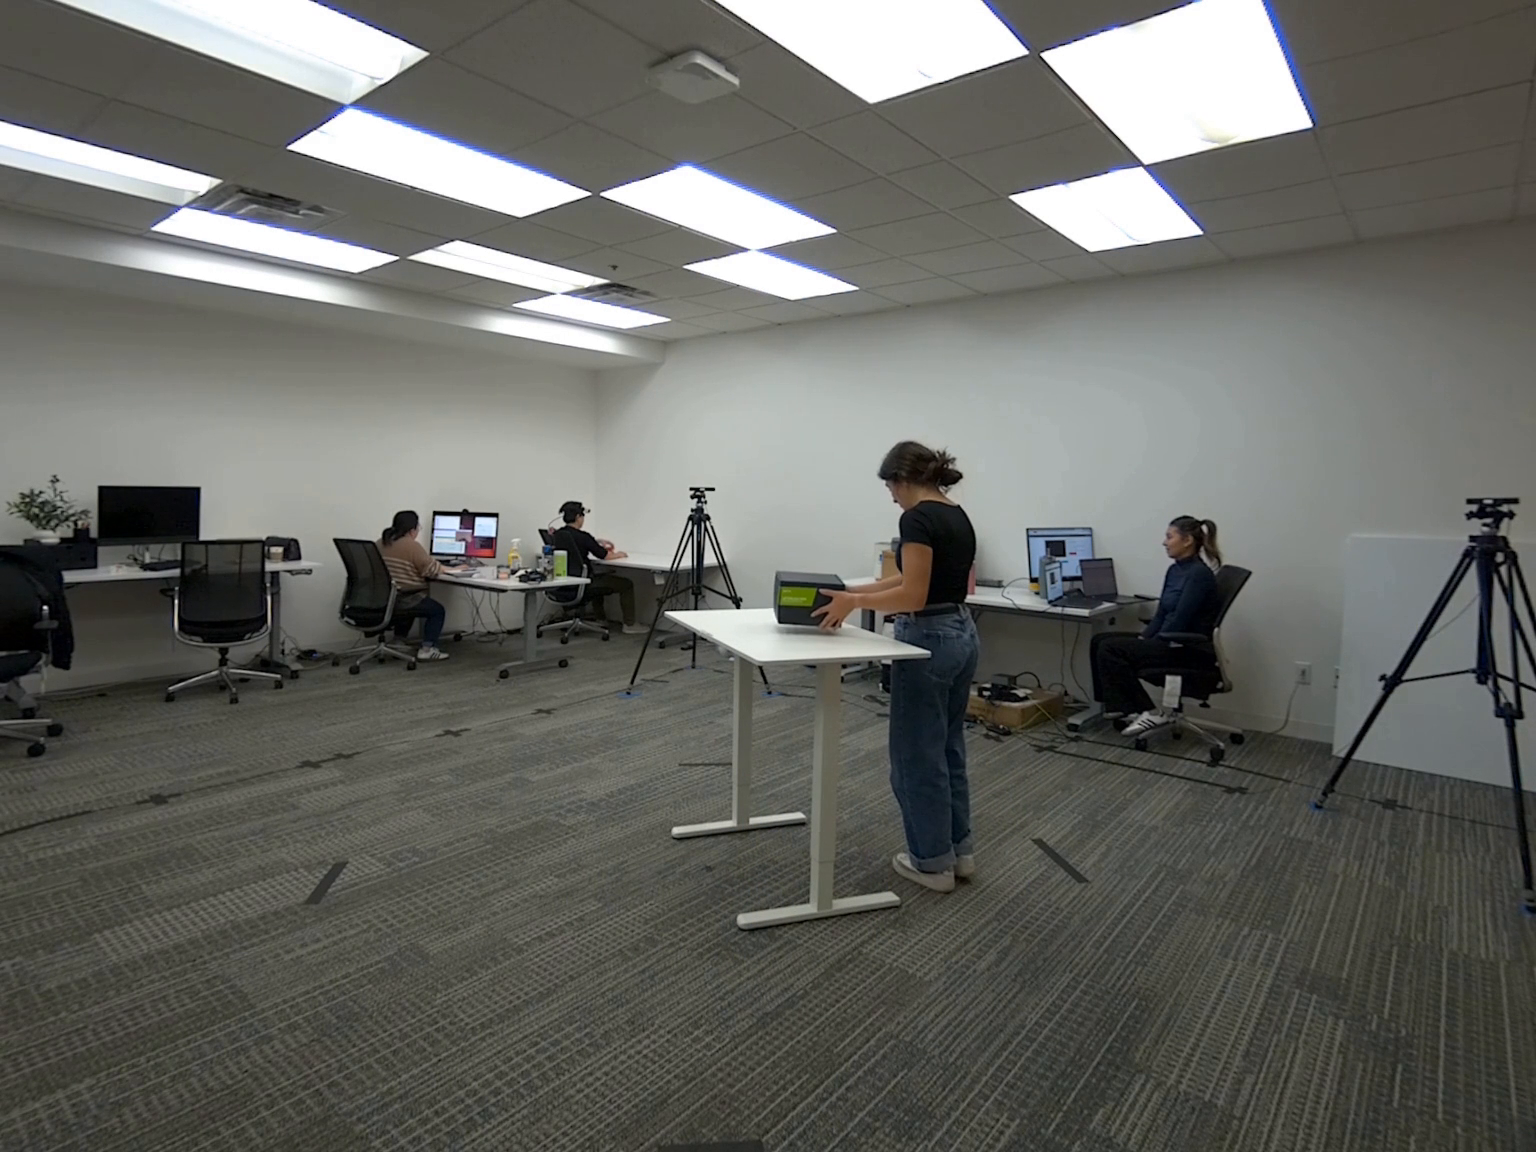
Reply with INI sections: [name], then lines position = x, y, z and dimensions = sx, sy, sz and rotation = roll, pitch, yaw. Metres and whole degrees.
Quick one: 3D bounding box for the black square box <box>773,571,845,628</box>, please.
[black square box]
position = 0.139, 0.074, 3.084
dimensions = 0.227, 0.155, 0.219
rotation = 3, 8, -3
